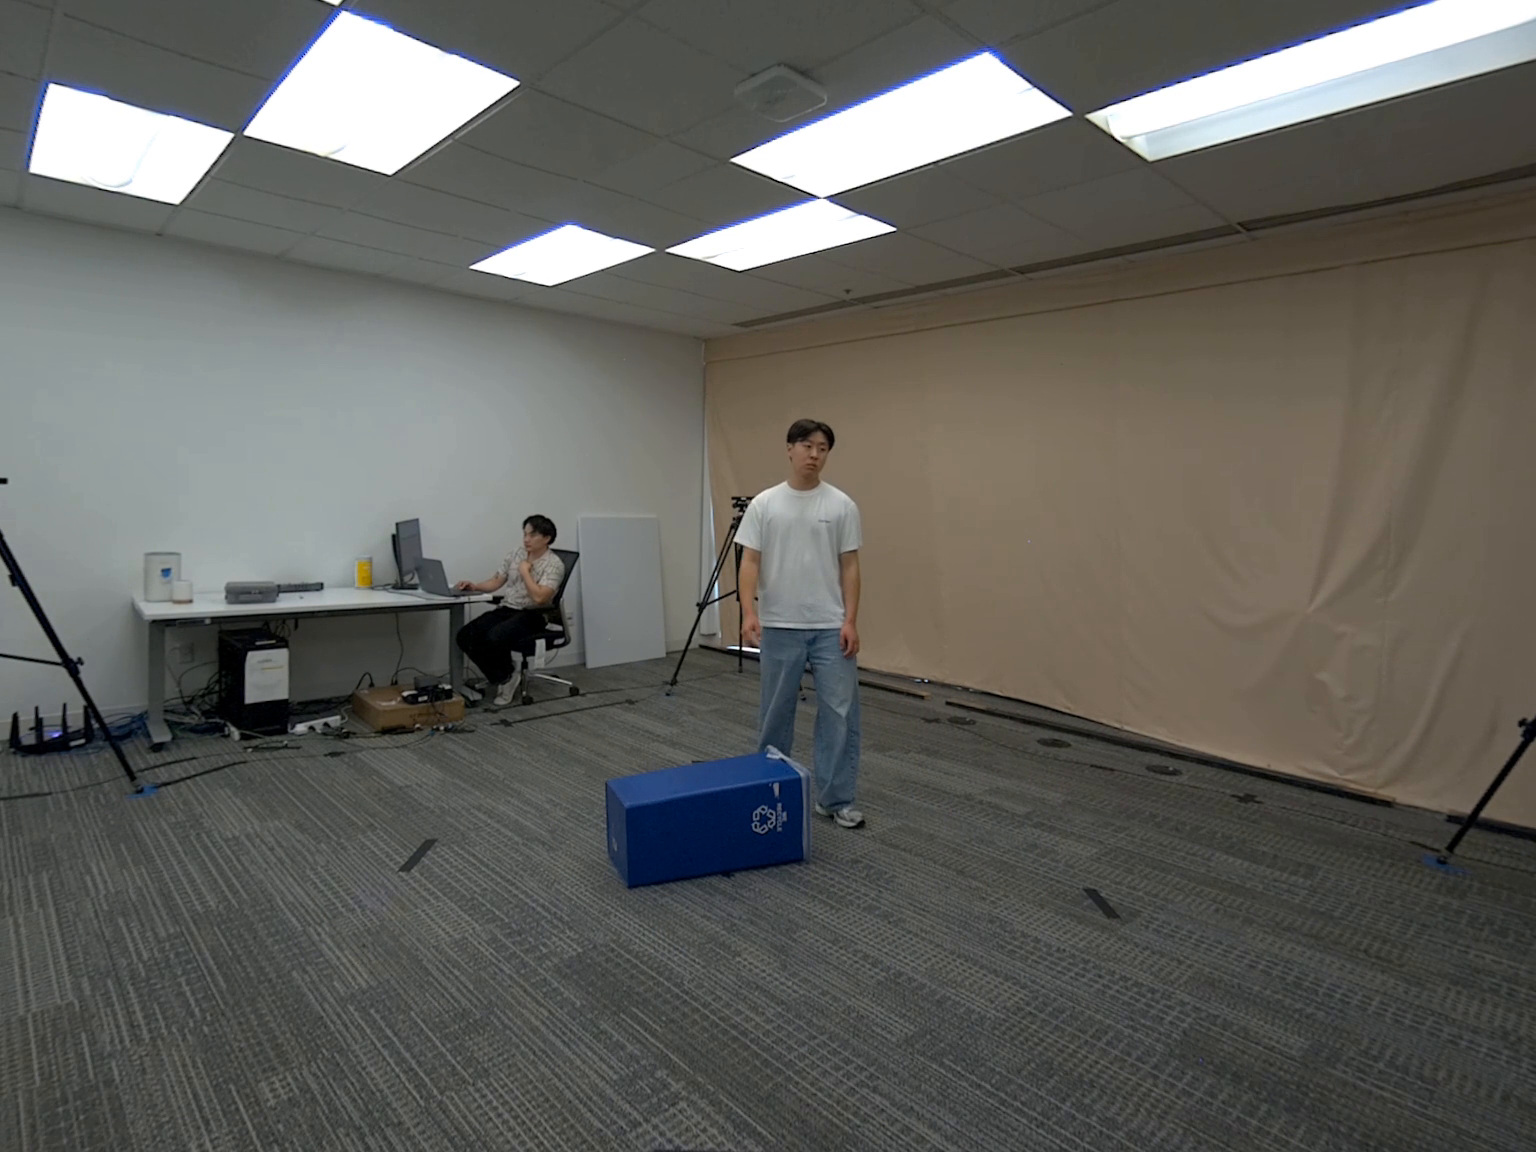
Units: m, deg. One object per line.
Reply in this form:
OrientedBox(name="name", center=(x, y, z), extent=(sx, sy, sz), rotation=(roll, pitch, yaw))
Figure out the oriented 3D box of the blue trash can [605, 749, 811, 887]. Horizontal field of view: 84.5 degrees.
OrientedBox(name="blue trash can", center=(-0.241, 0.932, 3.225), extent=(0.702, 0.377, 0.381), rotation=(-3, 6, -23))
